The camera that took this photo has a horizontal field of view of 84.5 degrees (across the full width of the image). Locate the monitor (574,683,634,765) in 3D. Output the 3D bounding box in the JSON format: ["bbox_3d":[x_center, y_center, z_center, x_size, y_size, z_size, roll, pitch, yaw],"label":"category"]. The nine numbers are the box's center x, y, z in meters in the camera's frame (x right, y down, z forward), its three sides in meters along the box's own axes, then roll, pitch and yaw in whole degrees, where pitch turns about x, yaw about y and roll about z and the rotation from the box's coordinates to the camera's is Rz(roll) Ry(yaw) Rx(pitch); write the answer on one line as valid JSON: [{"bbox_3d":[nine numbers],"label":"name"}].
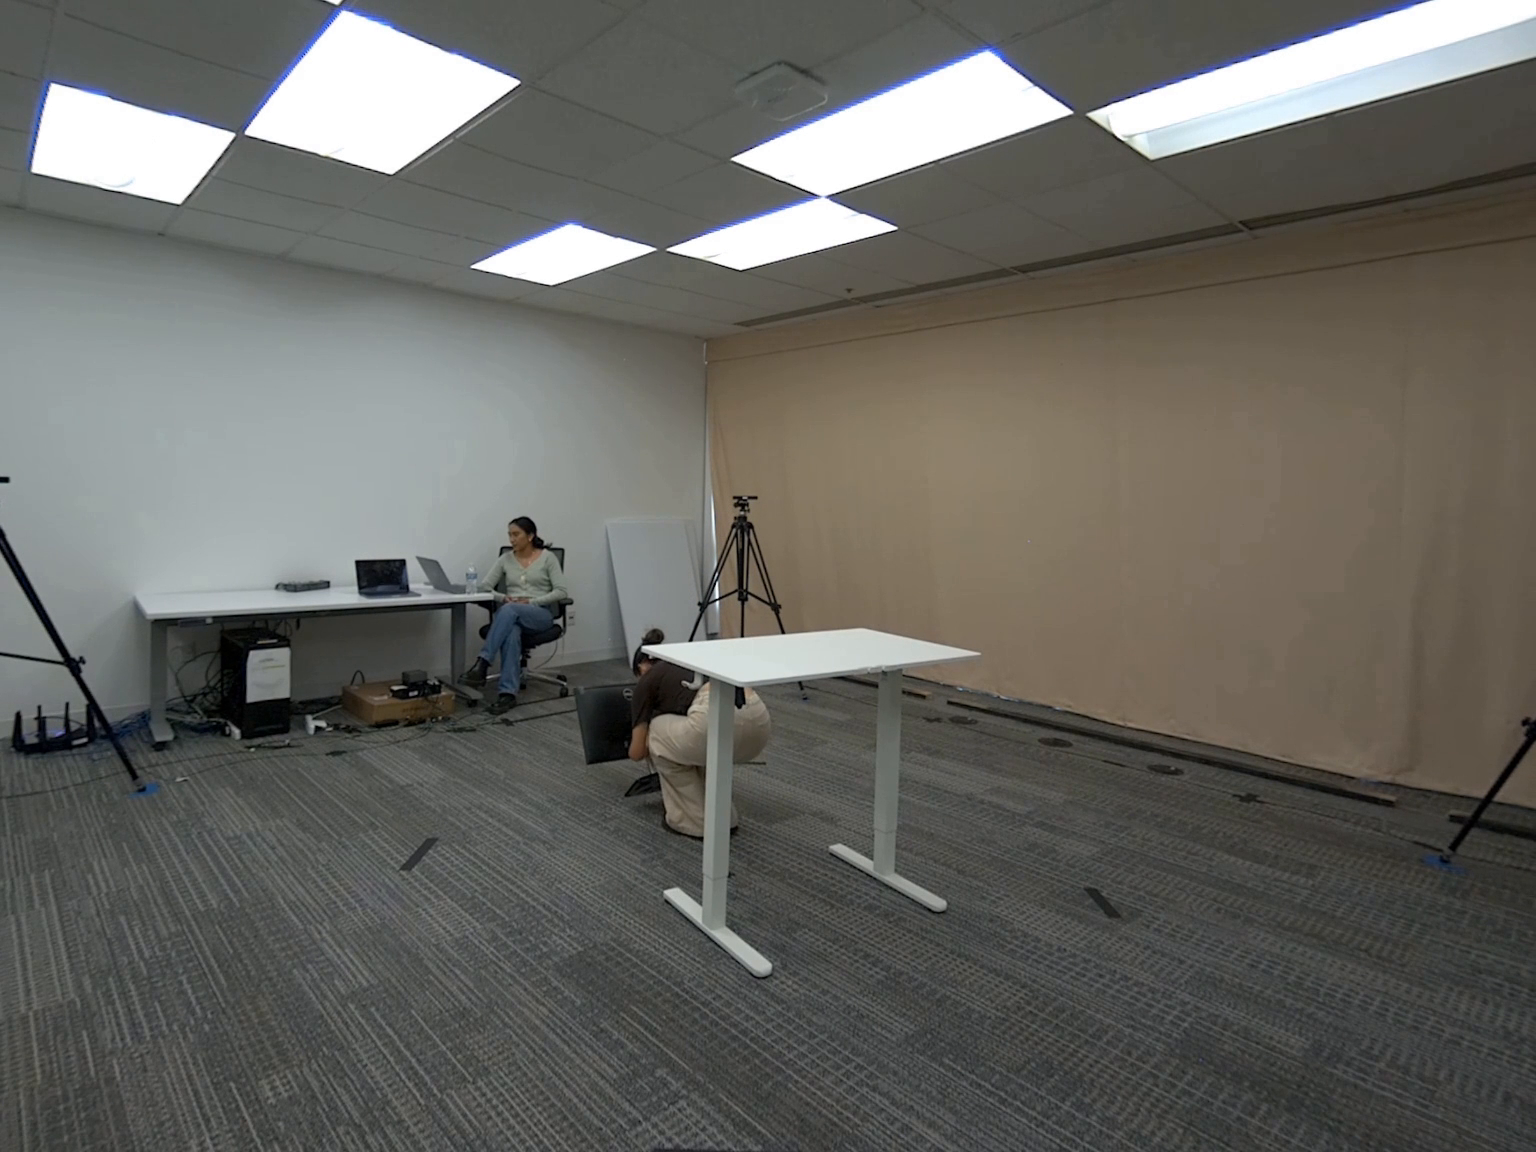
[{"bbox_3d":[-0.593,0.732,3.901,0.525,0.536,0.187,5,-41,-44],"label":"monitor"}]
